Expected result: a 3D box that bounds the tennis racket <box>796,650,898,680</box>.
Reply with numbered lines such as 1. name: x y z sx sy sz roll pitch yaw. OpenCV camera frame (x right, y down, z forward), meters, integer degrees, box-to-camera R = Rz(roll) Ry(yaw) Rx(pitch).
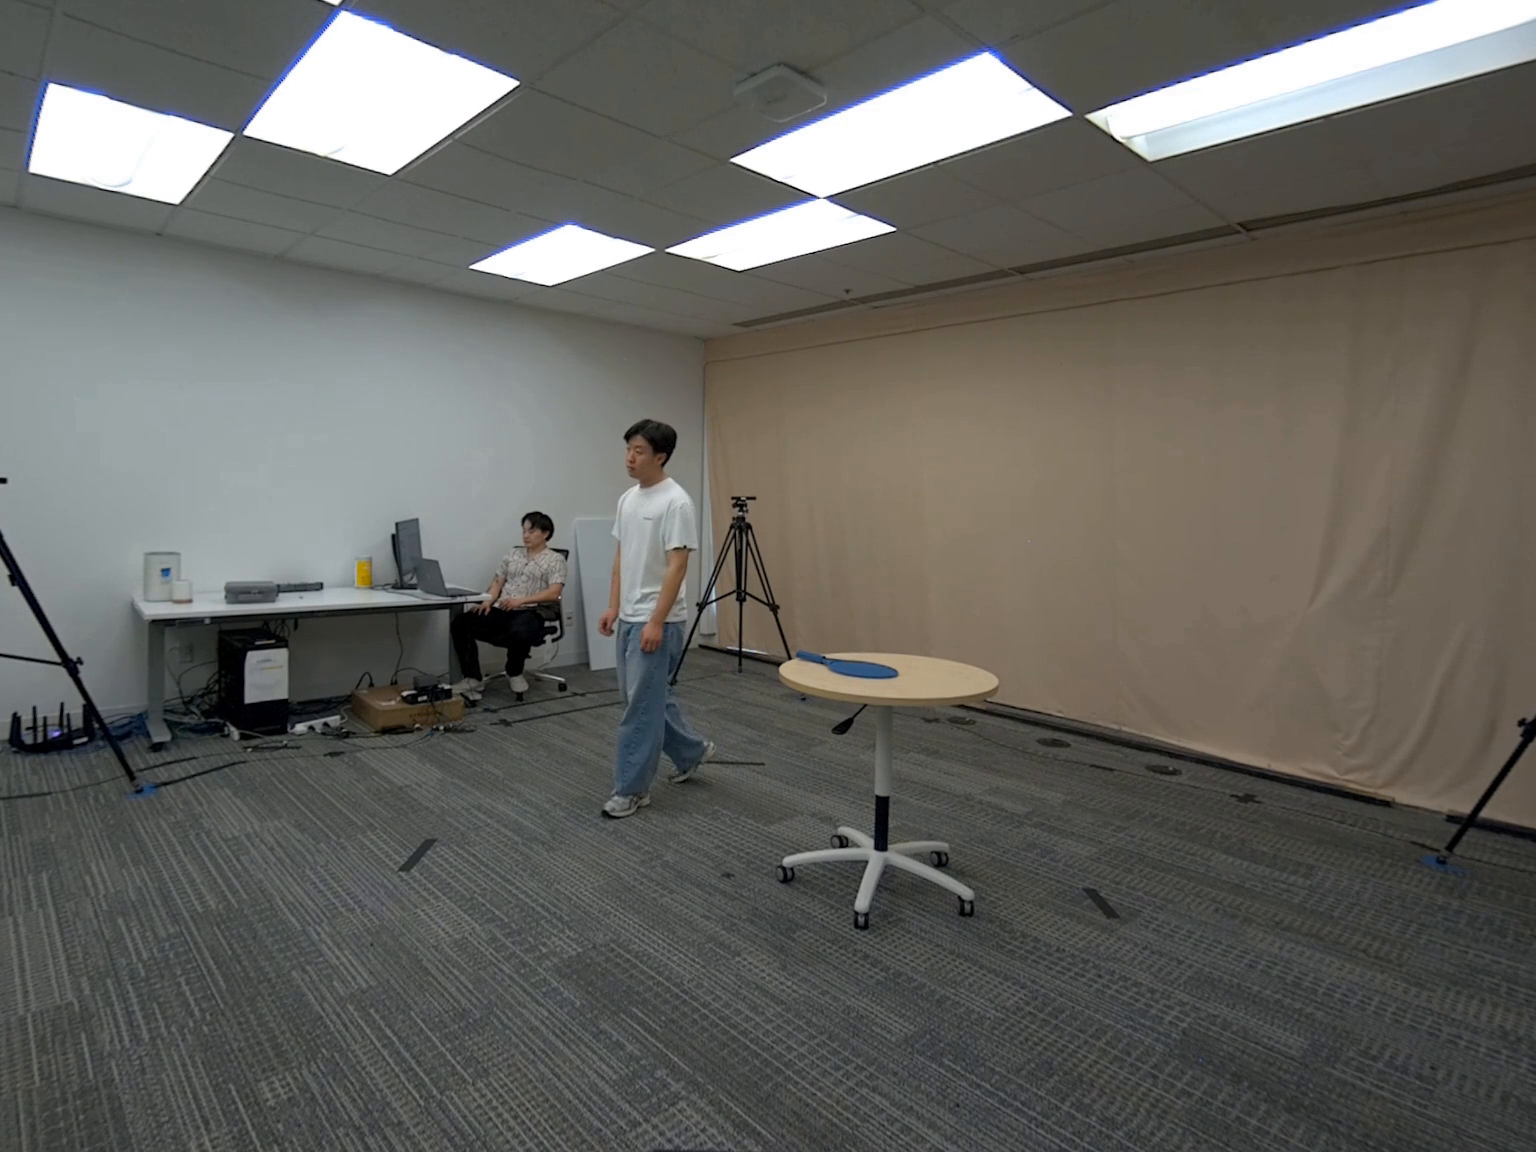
1. tennis racket: 0.271 0.326 3.077 0.209 0.031 0.444 -4 9 -44
